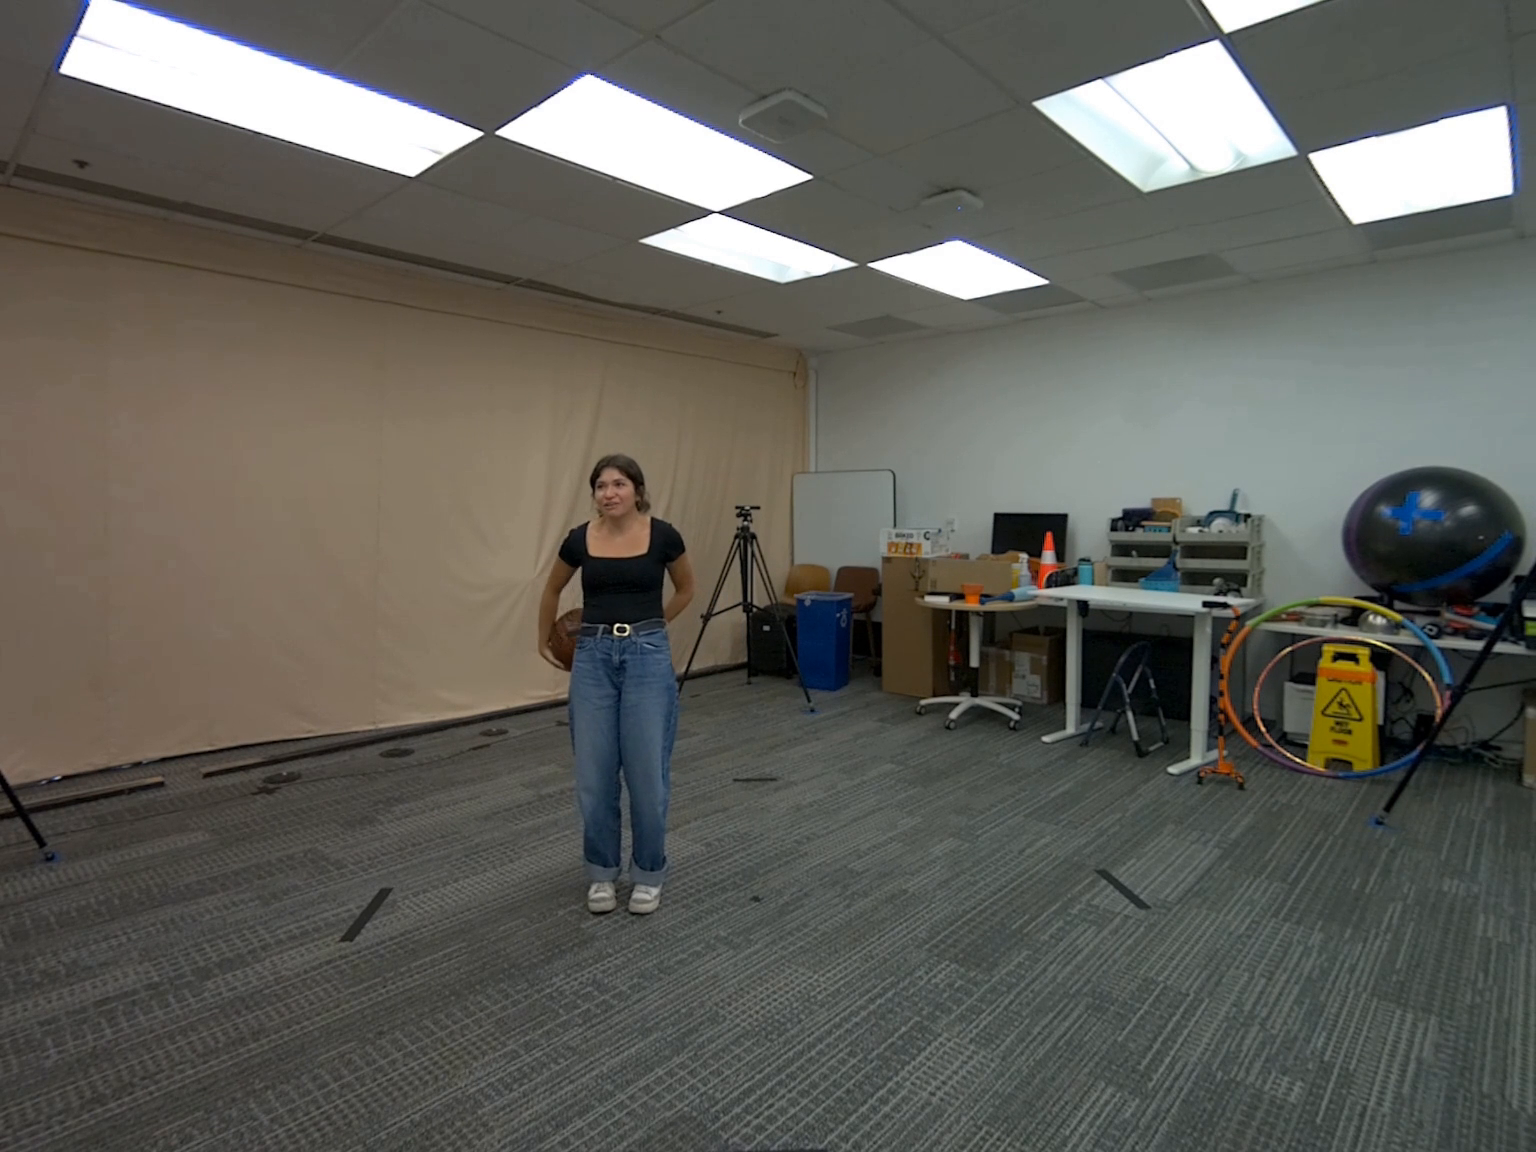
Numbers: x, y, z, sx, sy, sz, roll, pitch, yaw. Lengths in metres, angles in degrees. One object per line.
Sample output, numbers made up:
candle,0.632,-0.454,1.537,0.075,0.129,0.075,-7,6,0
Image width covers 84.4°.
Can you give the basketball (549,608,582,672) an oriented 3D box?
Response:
basketball,-0.688,0.234,3.146,0.236,0.235,0.237,0,4,-2
